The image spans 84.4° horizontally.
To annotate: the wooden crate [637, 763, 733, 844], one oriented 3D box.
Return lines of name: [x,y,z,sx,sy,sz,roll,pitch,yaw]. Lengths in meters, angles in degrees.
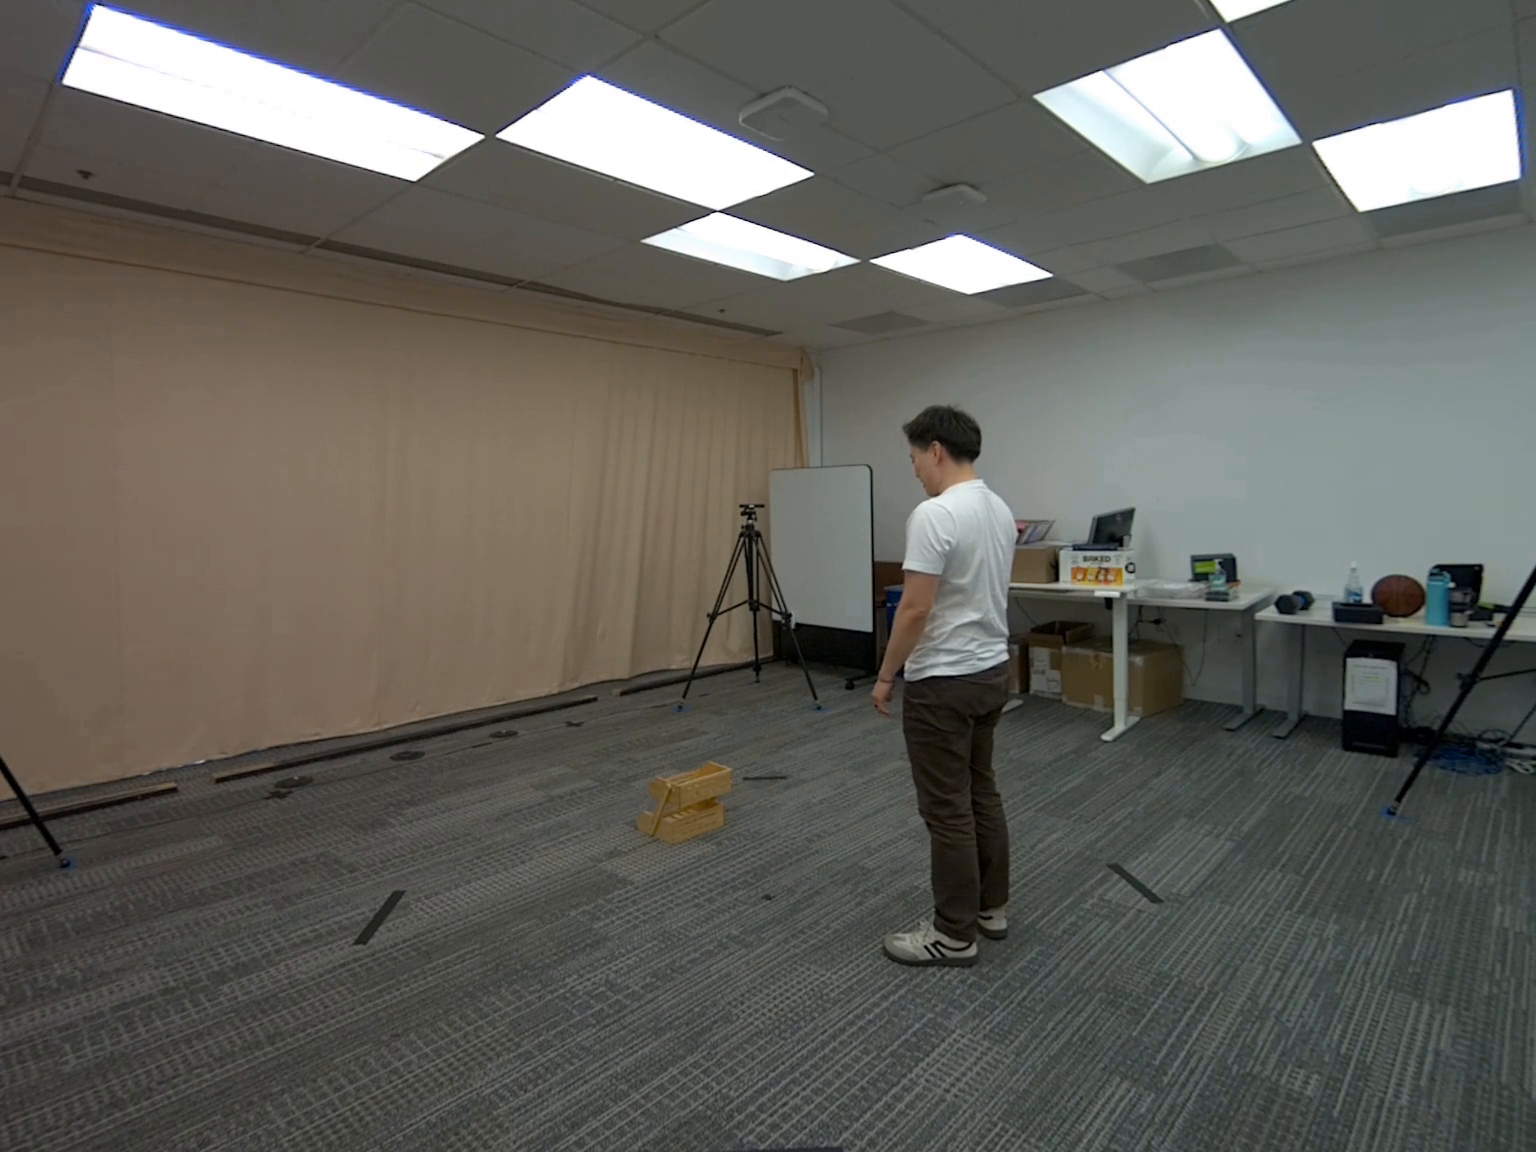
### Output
wooden crate: [-0.365,0.959,3.637,0.314,0.272,0.312,-5,6,-44]
